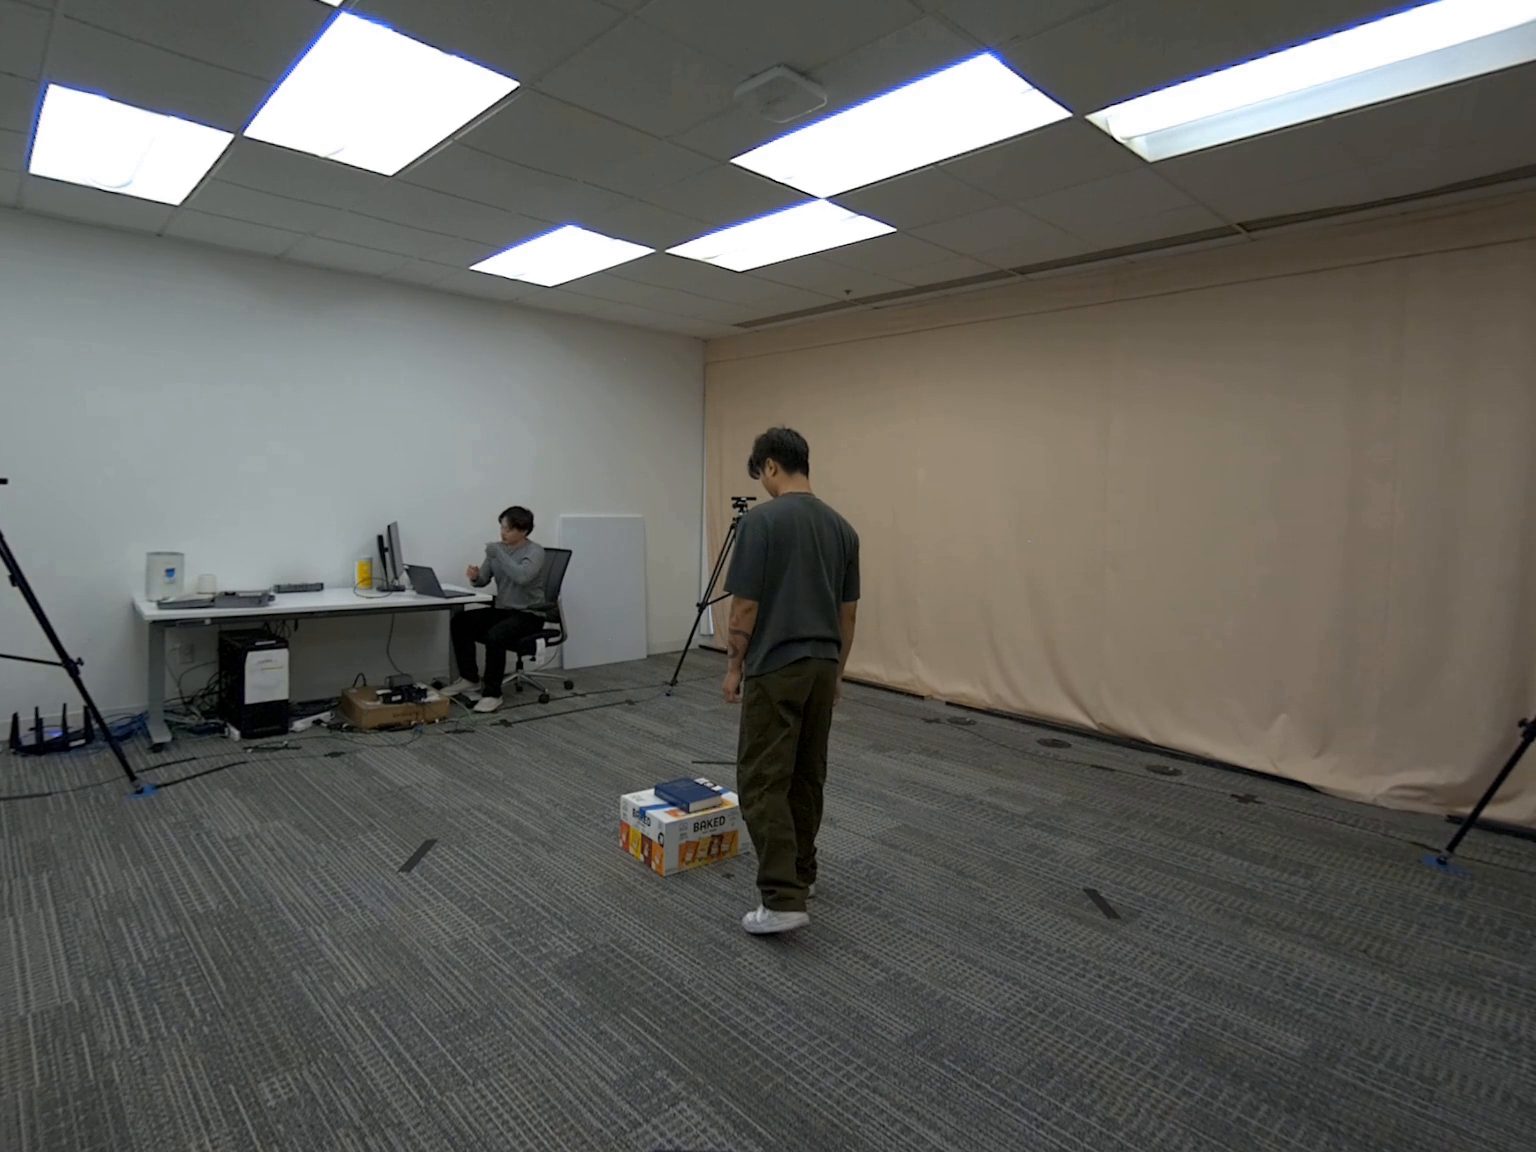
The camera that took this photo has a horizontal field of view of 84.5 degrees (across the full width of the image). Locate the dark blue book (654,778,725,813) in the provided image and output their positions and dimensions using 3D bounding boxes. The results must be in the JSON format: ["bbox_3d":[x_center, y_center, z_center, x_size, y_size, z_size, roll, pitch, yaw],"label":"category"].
[{"bbox_3d":[-0.328,0.870,3.335,0.160,0.045,0.251,-3,6,-39],"label":"dark blue book"}]
